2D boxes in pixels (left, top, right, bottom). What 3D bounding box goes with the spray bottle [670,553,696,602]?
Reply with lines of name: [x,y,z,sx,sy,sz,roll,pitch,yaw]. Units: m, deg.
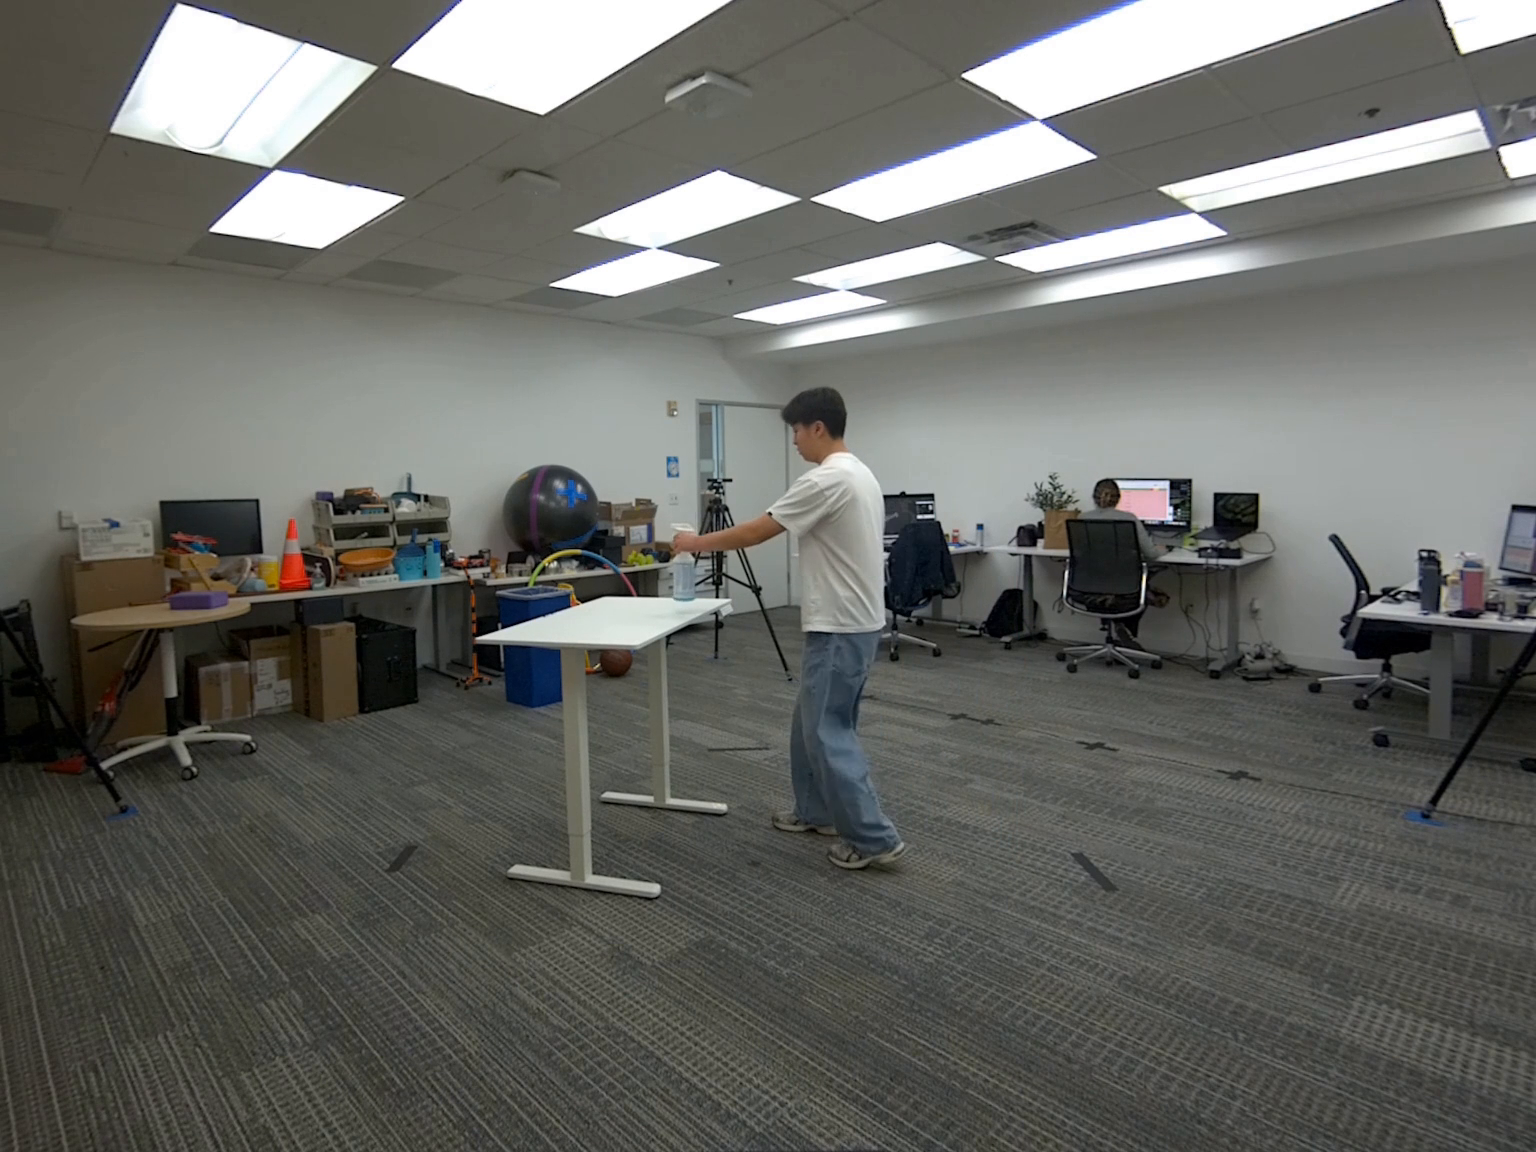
spray bottle: [-0.316,-0.052,3.290,0.091,0.296,0.087,0,6,9]
